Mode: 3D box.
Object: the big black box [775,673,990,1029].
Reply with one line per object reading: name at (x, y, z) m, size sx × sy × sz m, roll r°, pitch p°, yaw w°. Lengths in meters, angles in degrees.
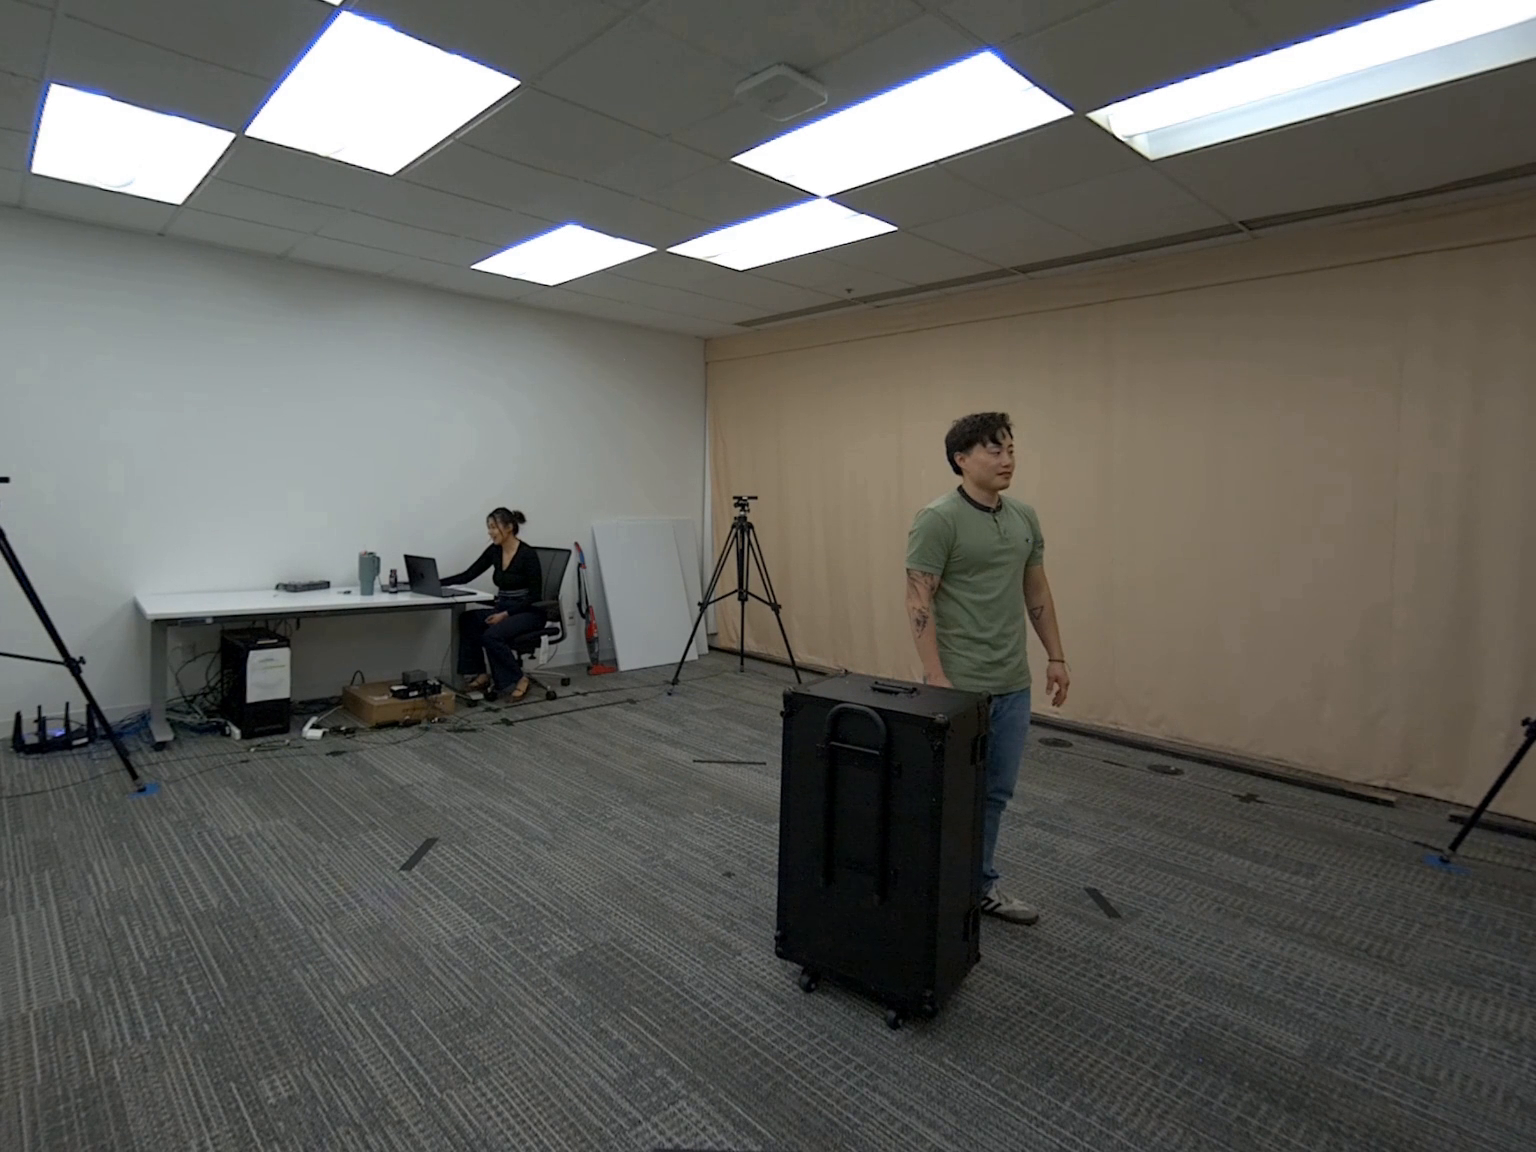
big black box at (0.312, 0.756, 2.391) m, size 0.534 × 0.859 × 0.388 m, roll 5°, pitch 6°, yaw 35°
